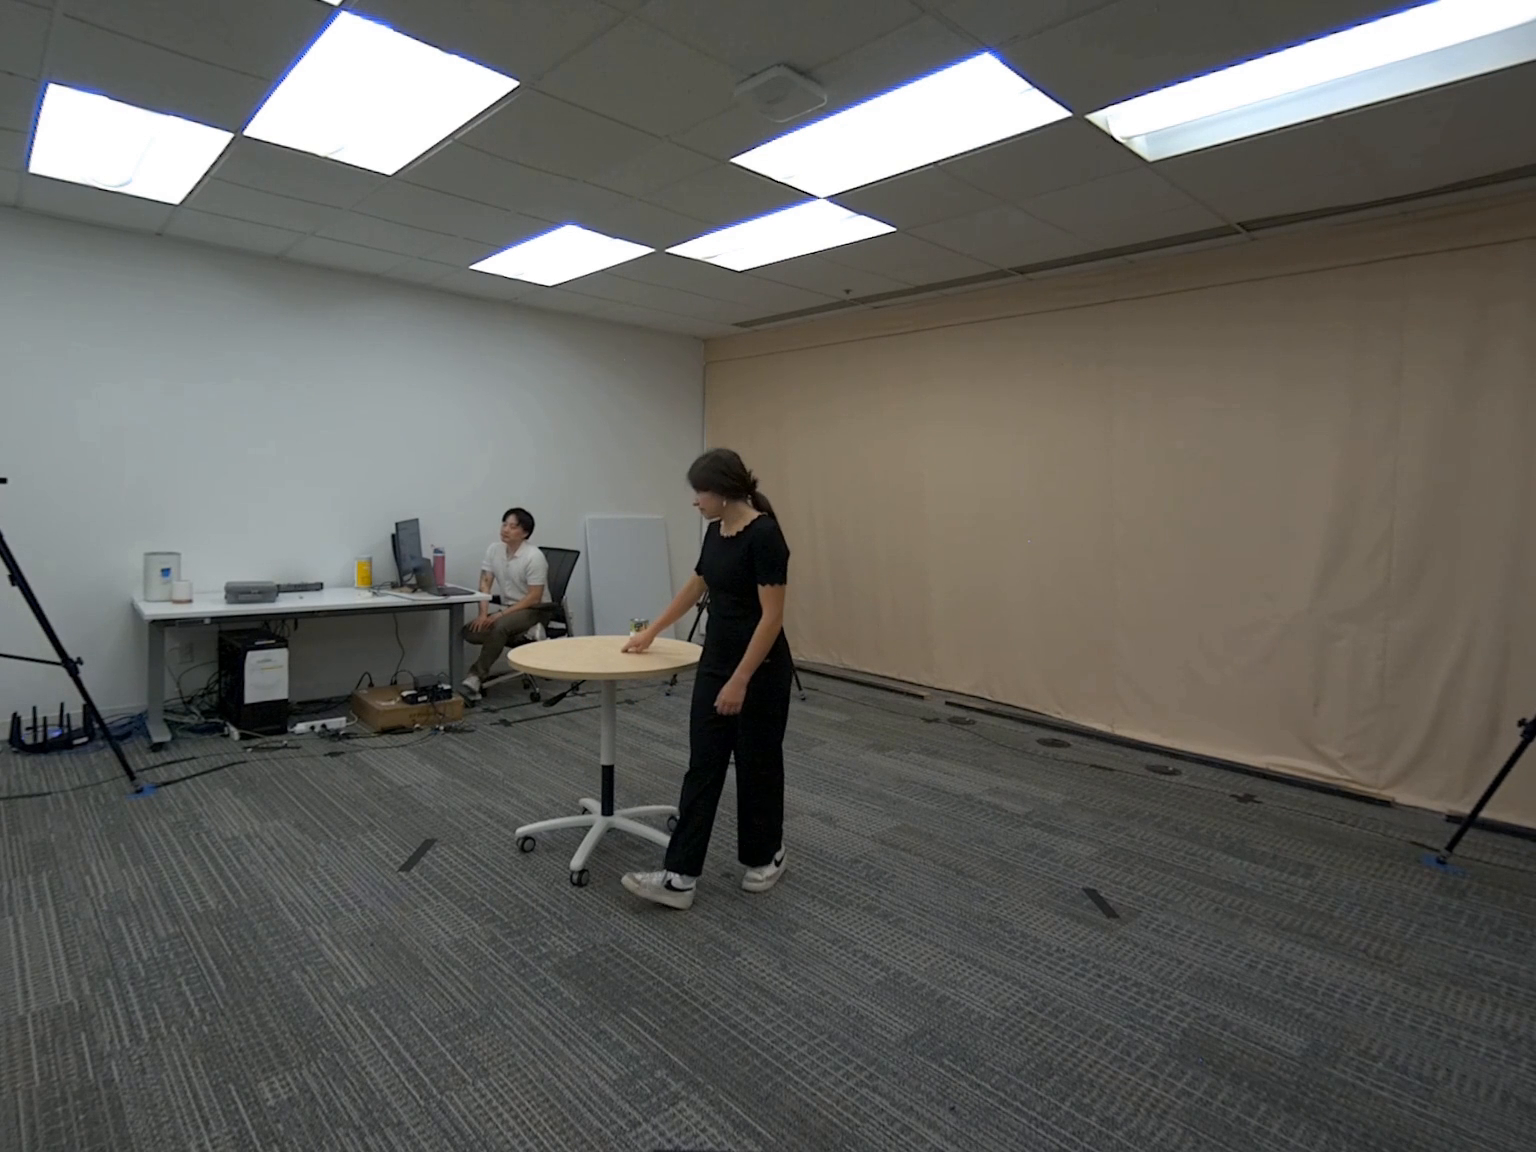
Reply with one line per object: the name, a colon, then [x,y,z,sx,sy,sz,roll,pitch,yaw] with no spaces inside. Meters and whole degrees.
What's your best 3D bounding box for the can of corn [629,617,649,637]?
can of corn: [-0.522,0.231,3.369,0.074,0.111,0.074,5,4,-2]
